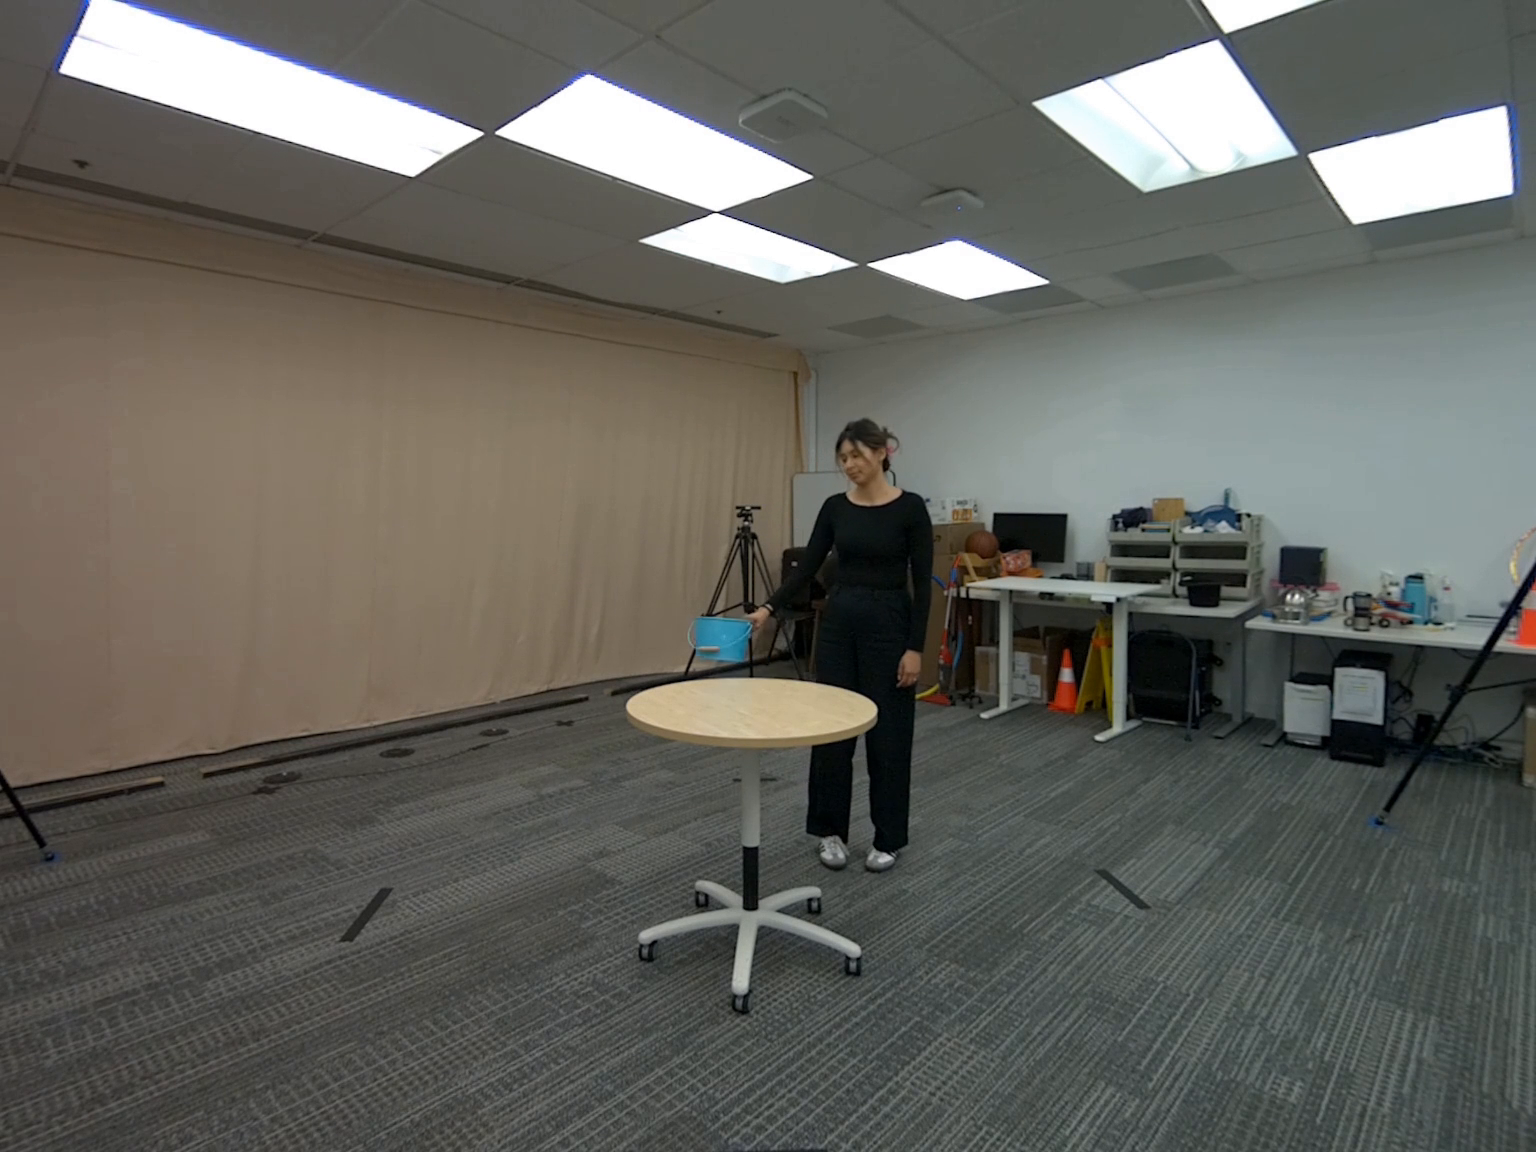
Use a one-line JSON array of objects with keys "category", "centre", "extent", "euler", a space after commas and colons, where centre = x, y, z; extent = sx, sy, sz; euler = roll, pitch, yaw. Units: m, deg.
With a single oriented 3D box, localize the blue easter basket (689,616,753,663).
[{"category": "blue easter basket", "centre": [-0.149, 0.251, 3.200], "extent": [0.243, 0.156, 0.243], "euler": [4, -4, -2]}]
